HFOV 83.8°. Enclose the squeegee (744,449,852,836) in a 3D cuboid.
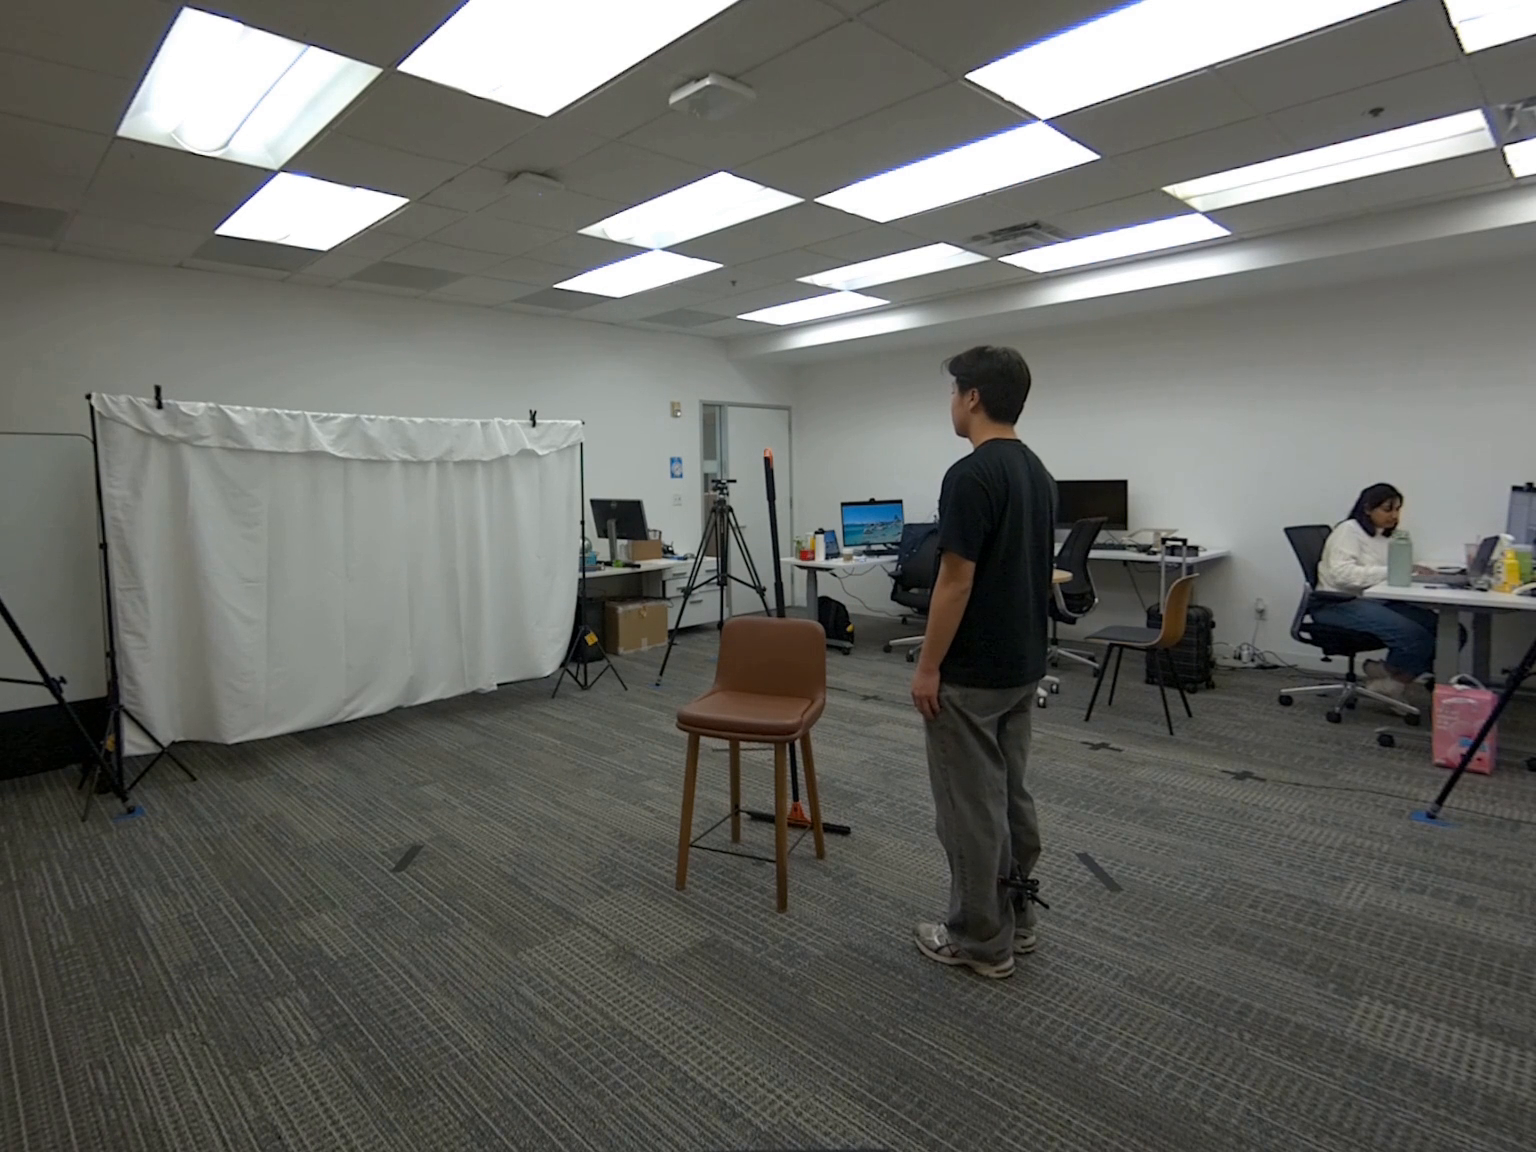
[{"bbox_3d":[0.058,0.270,3.264,0.446,1.518,0.052,0,14,20],"label":"squeegee"}]
